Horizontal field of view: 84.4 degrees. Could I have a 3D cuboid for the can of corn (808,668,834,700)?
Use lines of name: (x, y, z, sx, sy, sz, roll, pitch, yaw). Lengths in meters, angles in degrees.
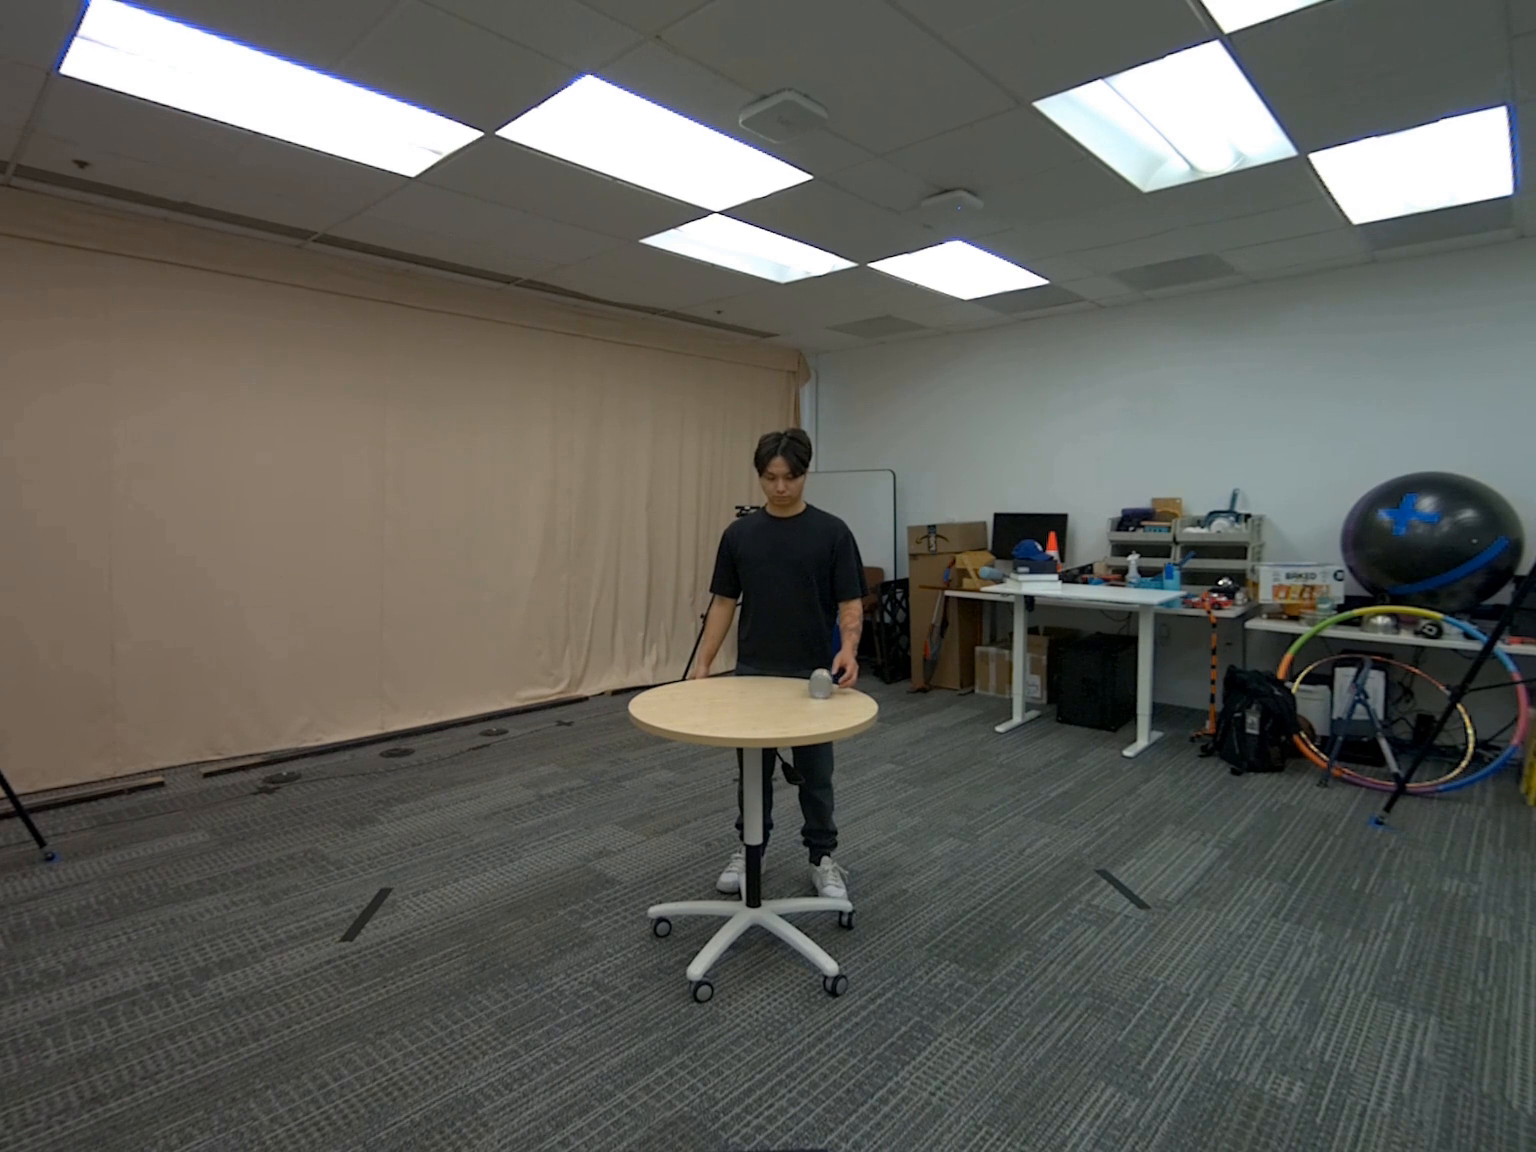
can of corn: (0.172, 0.346, 2.711, 0.074, 0.074, 0.111, 0, 2, 0)
